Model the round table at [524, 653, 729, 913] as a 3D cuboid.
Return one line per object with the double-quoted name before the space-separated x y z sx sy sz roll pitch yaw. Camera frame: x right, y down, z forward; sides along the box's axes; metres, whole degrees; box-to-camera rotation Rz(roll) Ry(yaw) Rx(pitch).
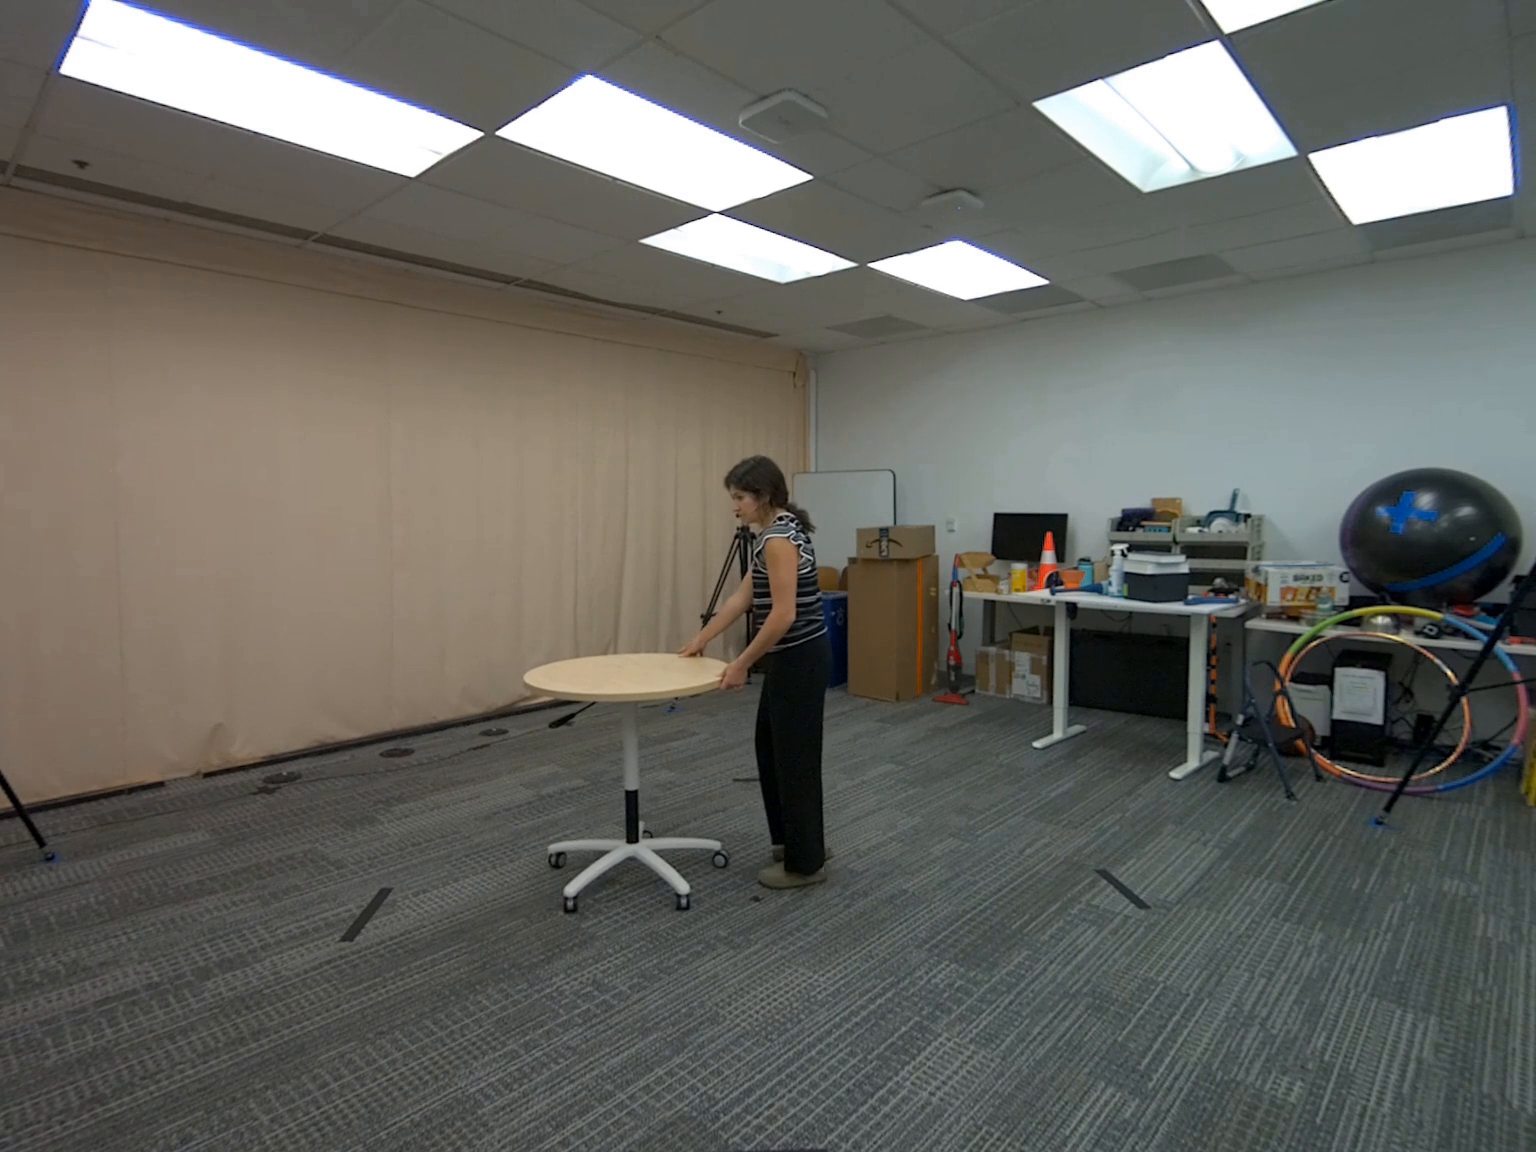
"round table" -0.520 0.744 3.132 0.784 0.785 0.787 -1 3 -2
